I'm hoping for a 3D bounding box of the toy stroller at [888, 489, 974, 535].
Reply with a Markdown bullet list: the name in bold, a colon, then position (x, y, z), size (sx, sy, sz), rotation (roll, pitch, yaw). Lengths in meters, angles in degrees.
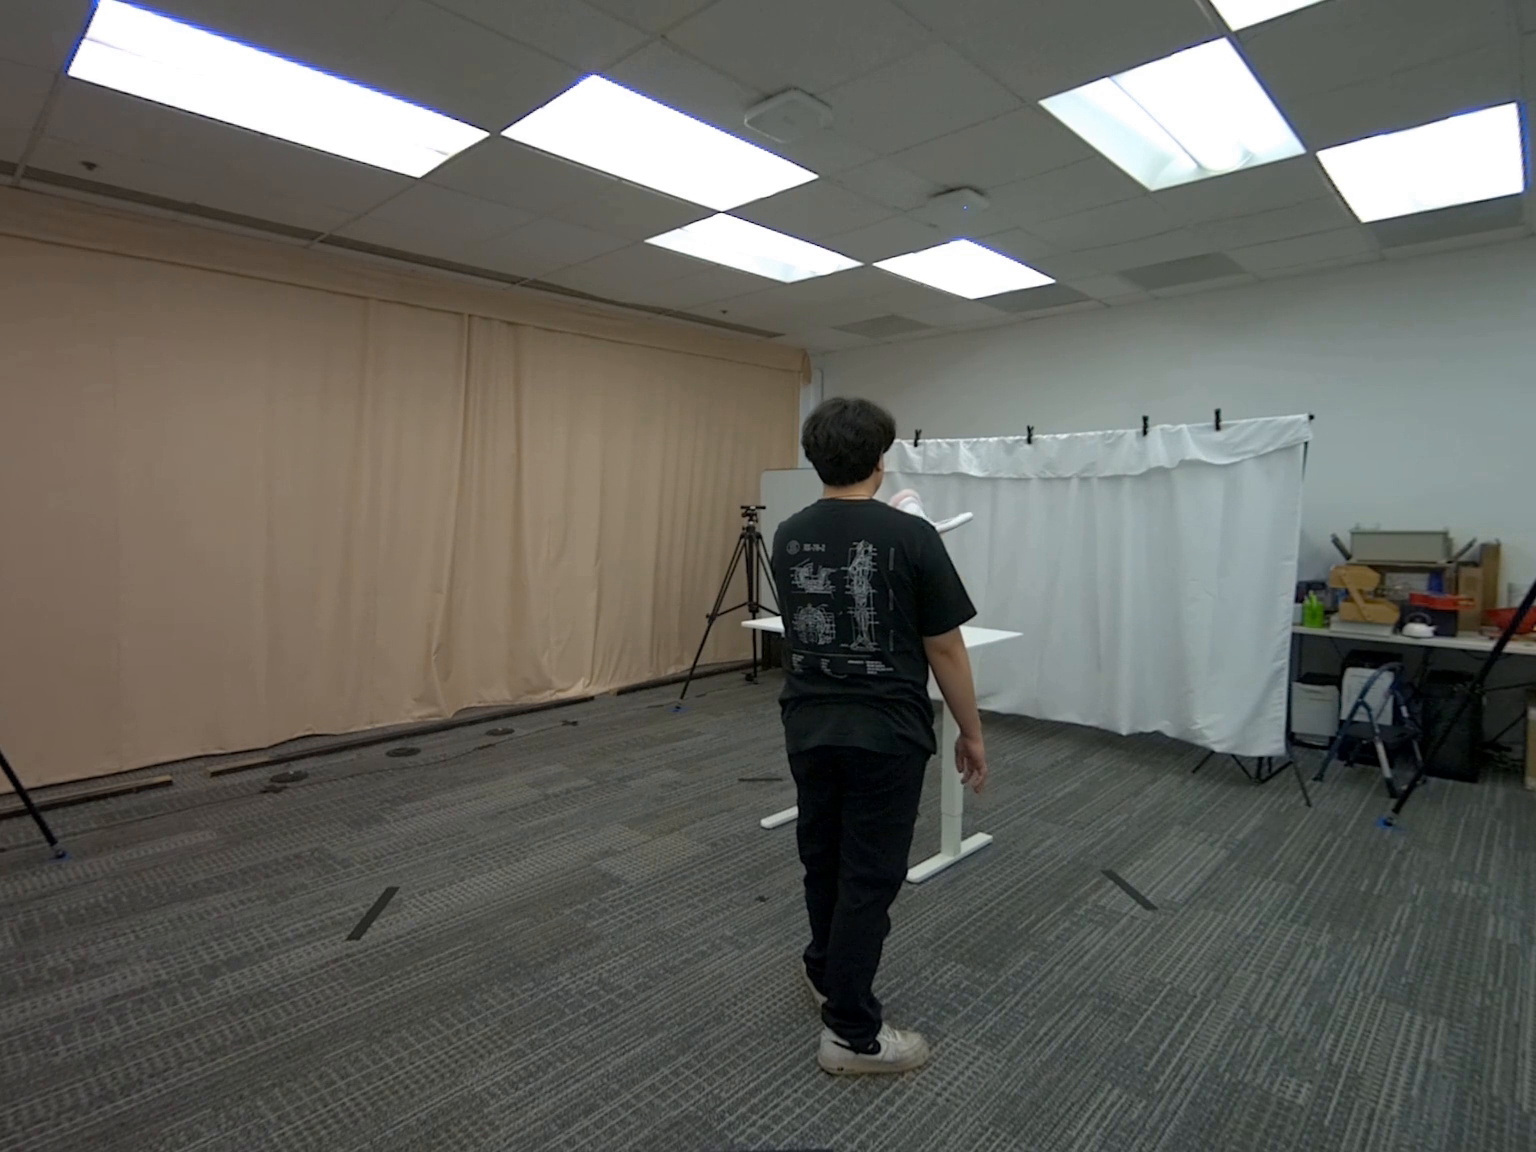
- **toy stroller**: position (0.405, -0.058, 2.741), size (0.275, 0.530, 0.352), rotation (-20, 49, -41)
